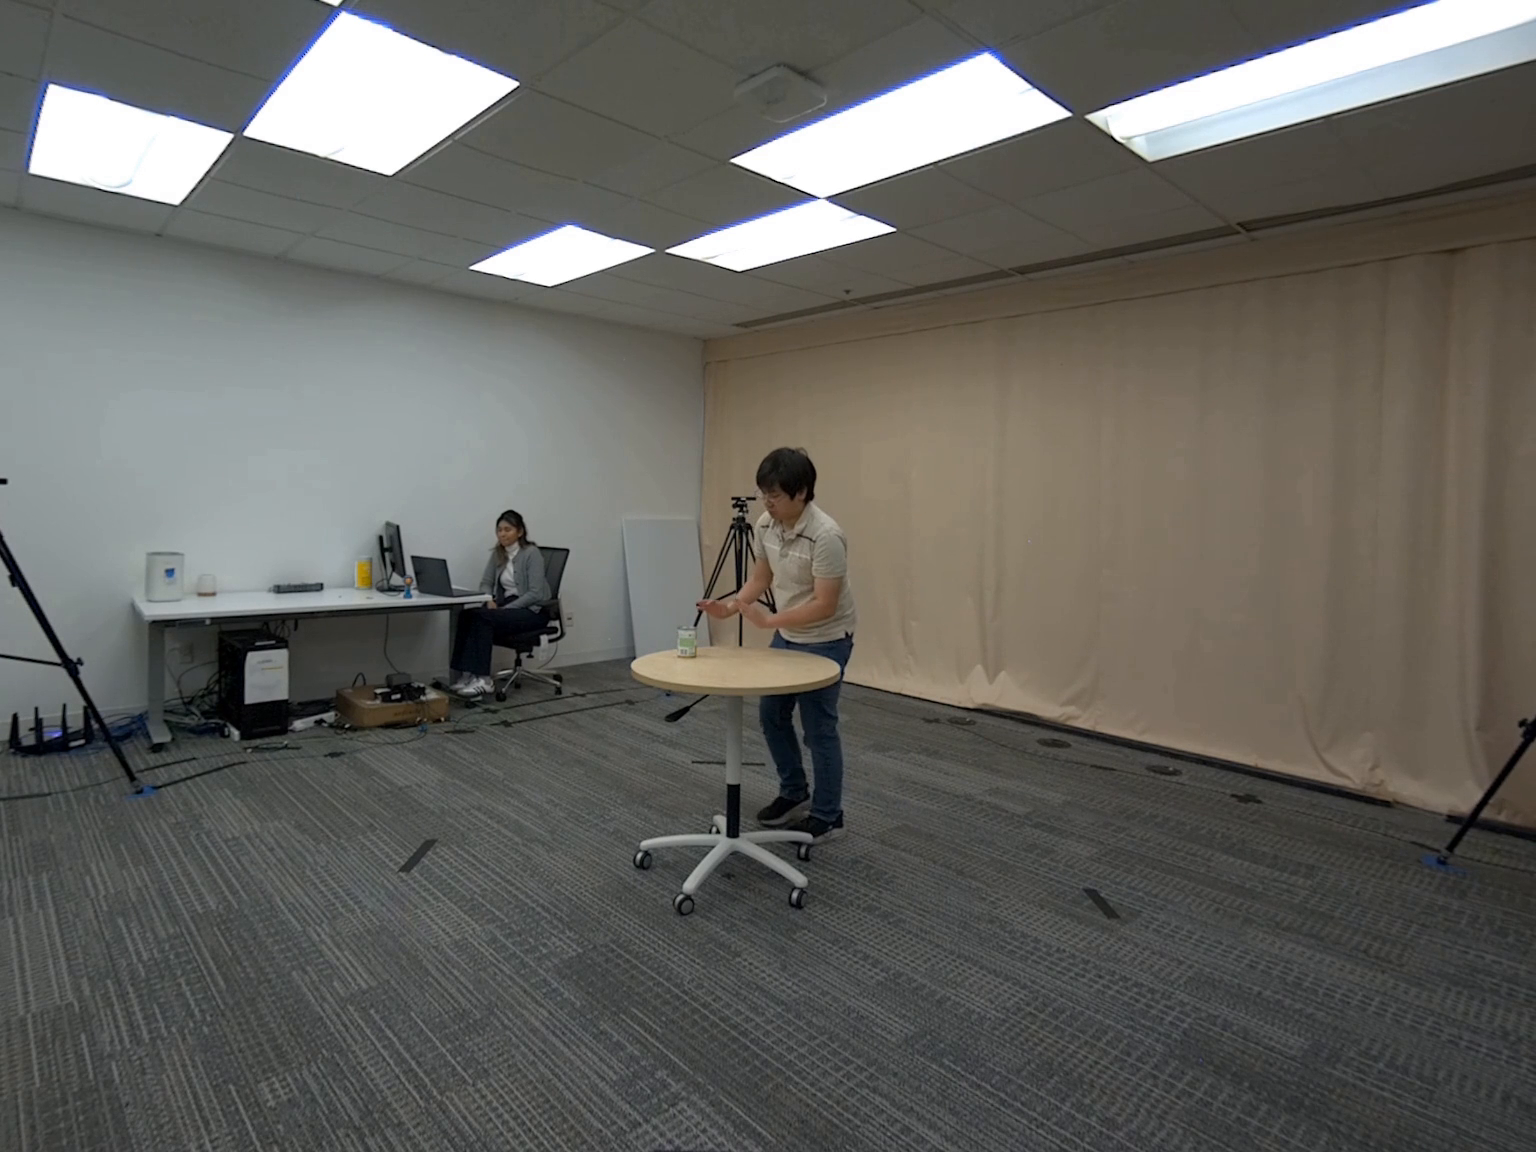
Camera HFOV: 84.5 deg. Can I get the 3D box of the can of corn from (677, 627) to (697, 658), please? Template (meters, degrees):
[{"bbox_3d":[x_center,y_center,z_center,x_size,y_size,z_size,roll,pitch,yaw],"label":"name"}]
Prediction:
[{"bbox_3d":[-0.321,0.257,3.231,0.074,0.111,0.074,2,1,-1],"label":"can of corn"}]
